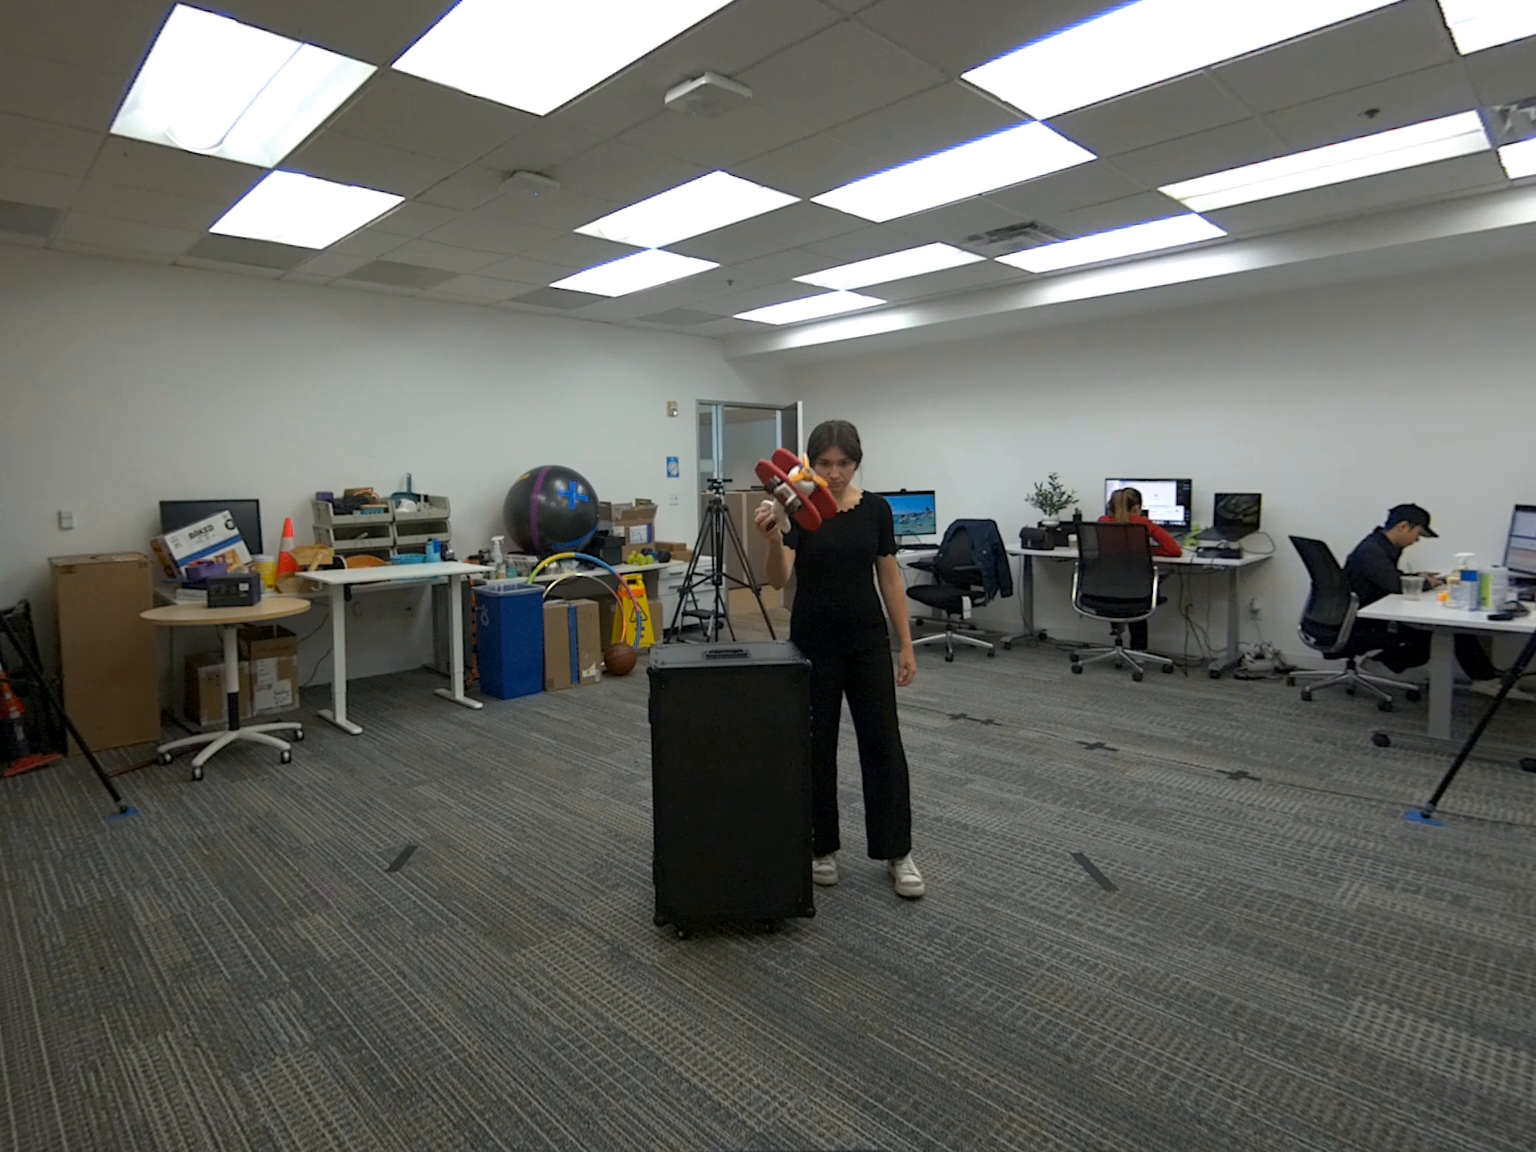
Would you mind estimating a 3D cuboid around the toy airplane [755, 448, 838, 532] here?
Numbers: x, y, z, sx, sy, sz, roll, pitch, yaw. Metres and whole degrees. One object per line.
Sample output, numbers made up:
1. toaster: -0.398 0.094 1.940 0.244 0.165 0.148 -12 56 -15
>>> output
1. toy airplane: 0.046 -0.242 2.505 0.156 0.246 0.265 -39 18 -21
